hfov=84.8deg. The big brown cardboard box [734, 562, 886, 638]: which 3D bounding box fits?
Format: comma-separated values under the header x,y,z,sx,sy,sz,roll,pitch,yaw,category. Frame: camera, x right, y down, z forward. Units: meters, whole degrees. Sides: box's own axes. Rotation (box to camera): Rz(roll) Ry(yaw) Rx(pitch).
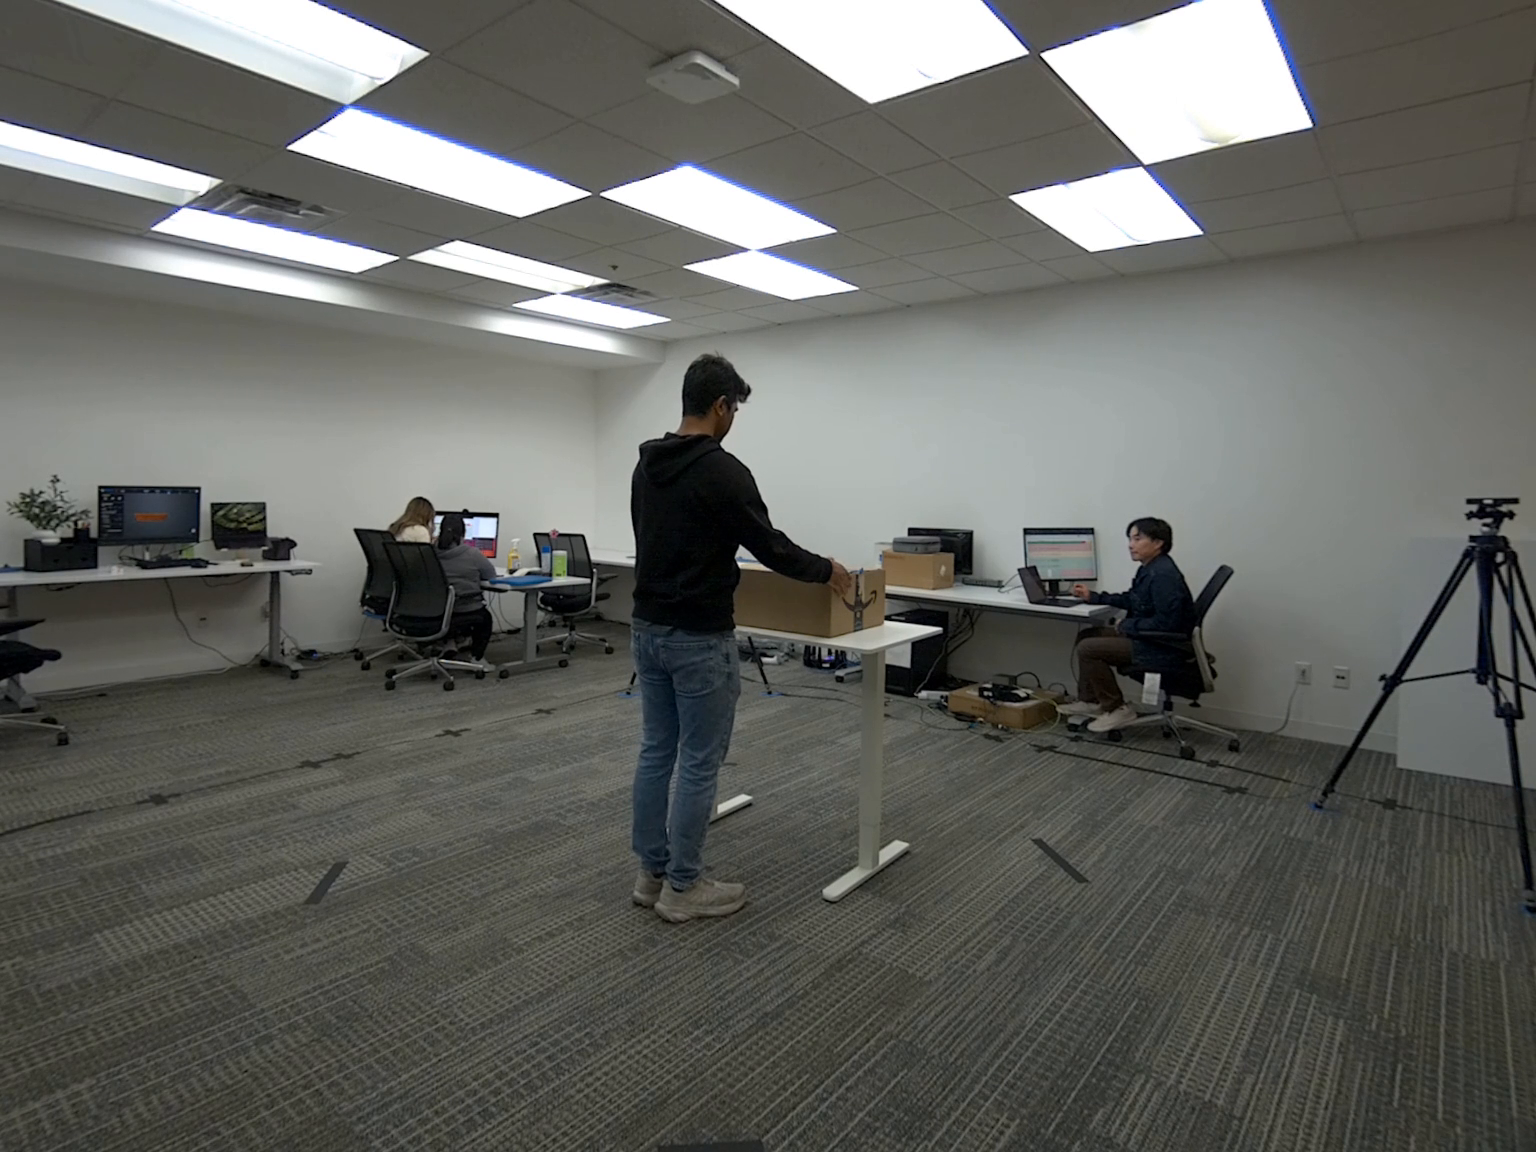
x,y,z,sx,sy,sz,roll,pitch,yaw,category
0.086,0.065,3.255,0.608,0.232,0.406,6,7,35,big brown cardboard box
